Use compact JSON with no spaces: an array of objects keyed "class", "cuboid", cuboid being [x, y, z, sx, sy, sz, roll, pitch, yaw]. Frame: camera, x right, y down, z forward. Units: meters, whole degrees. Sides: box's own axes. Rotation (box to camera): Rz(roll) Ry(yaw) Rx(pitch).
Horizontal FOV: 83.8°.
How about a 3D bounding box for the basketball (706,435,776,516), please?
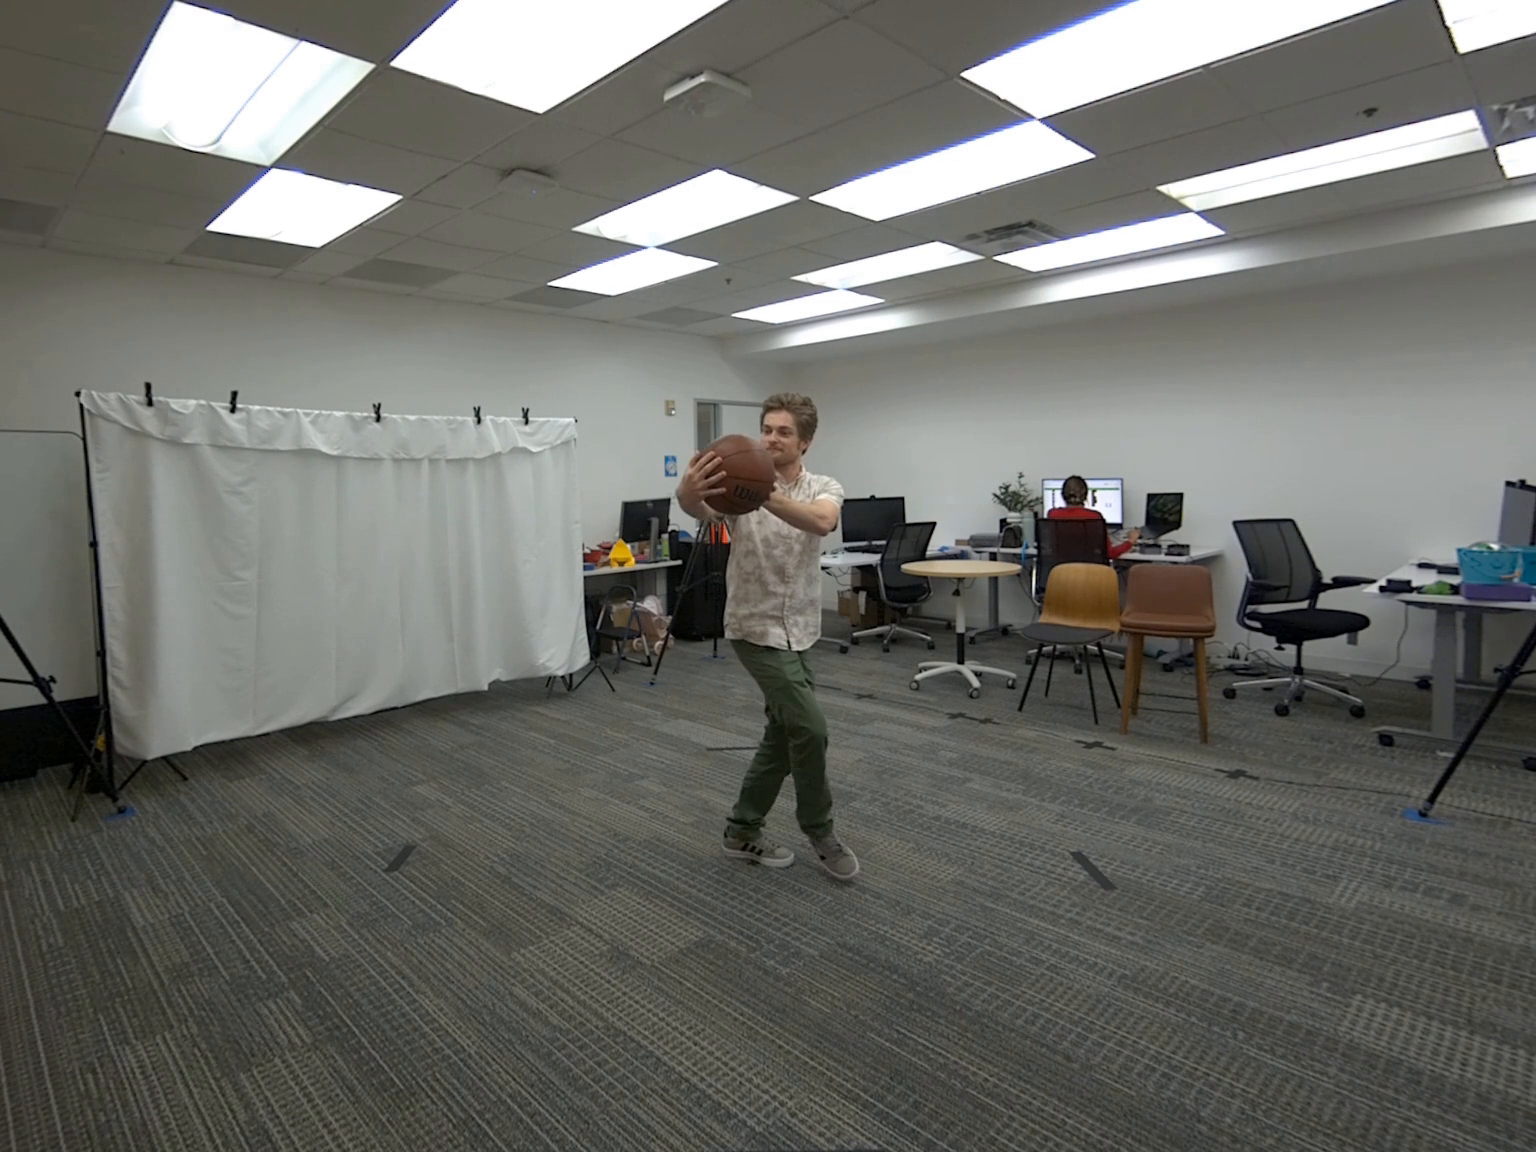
[{"class":"basketball","cuboid":[-0.097,-0.297,2.517,0.236,0.235,0.237,-1,5,-2]}]
